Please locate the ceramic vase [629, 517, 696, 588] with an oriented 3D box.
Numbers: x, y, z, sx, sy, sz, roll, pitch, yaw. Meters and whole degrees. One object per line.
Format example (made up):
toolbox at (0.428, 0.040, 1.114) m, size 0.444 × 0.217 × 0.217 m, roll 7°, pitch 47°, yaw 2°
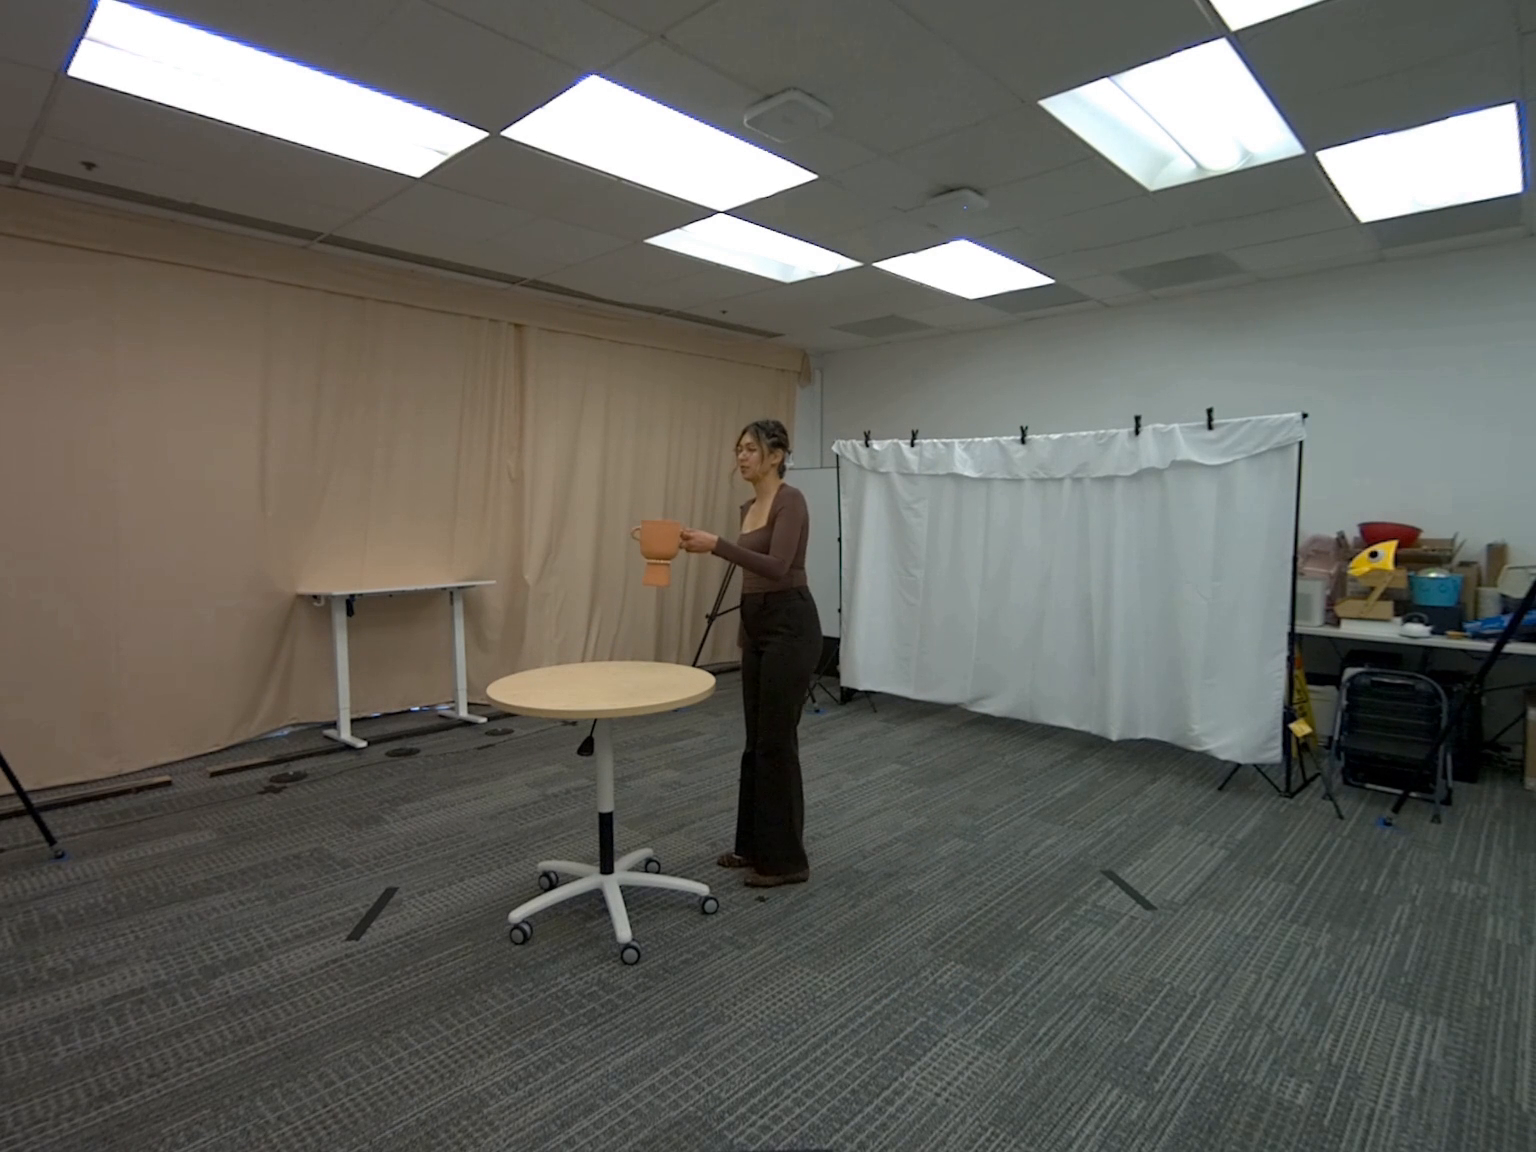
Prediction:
ceramic vase at (-0.355, -0.081, 2.839) m, size 0.163 × 0.220 × 0.131 m, roll 5°, pitch 1°, yaw 29°
